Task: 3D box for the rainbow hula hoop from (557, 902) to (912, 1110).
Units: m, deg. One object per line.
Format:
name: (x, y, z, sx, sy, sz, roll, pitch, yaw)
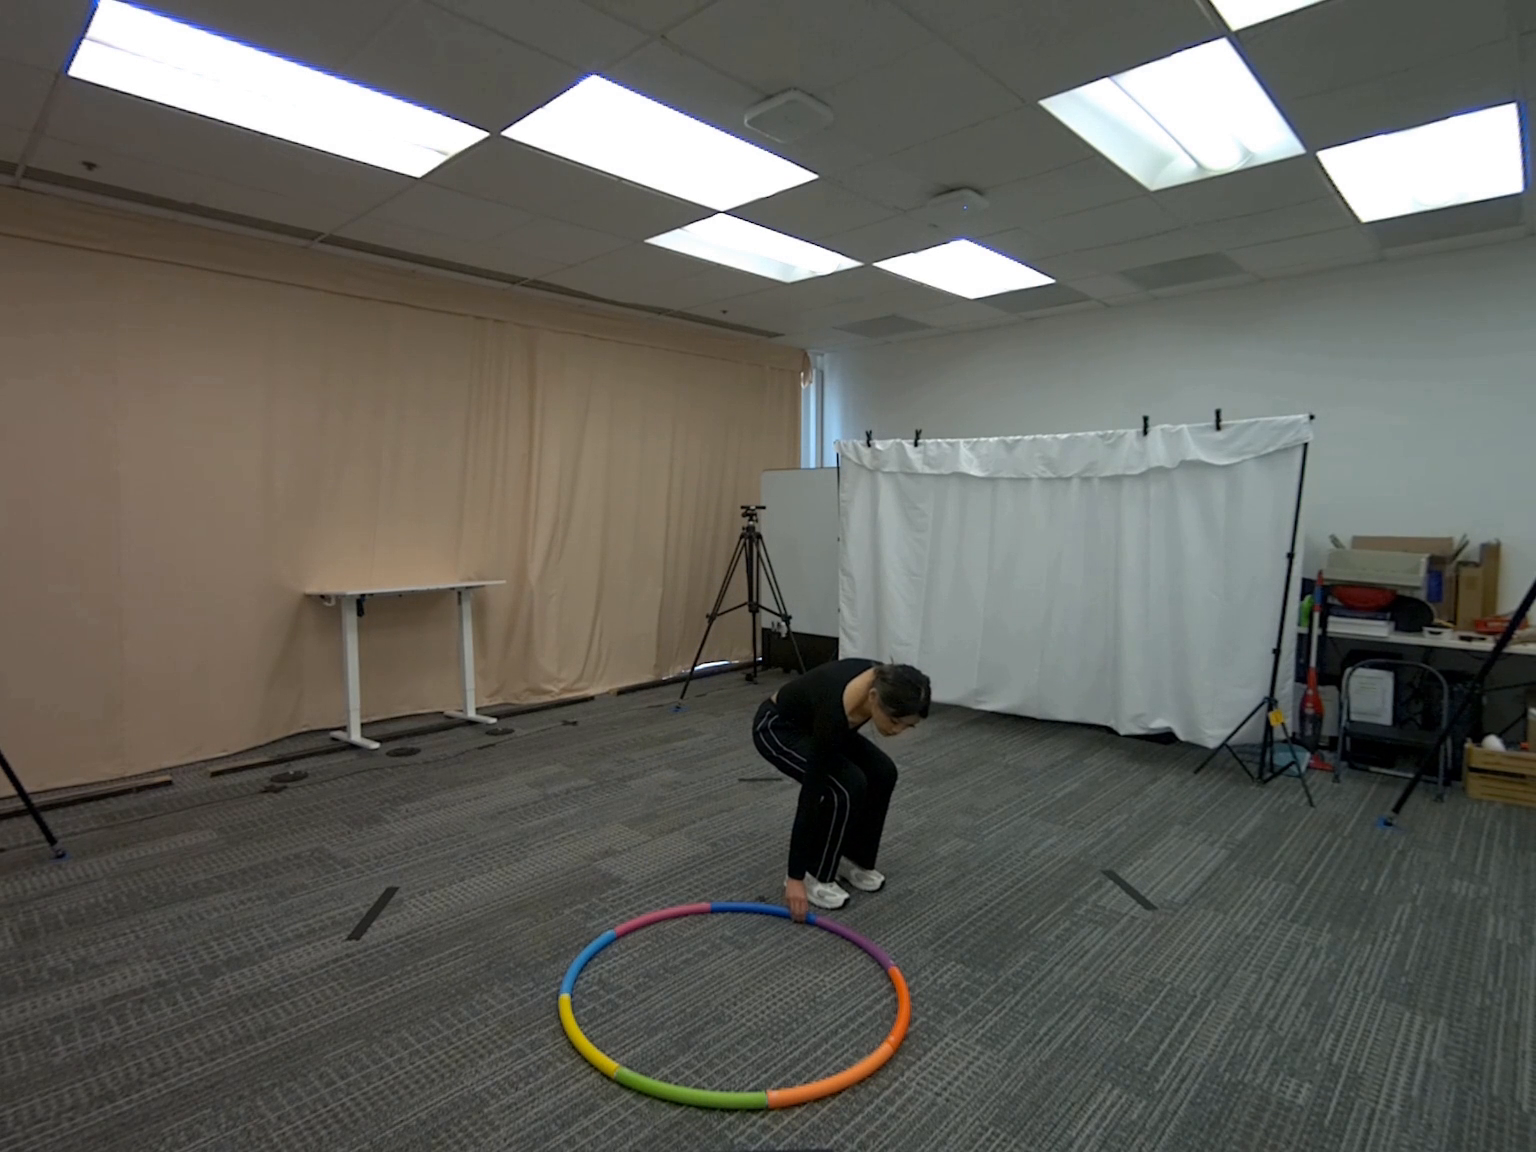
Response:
rainbow hula hoop: (-0.100, 1.160, 2.421, 0.978, 0.035, 0.982, 0, 4, -2)
